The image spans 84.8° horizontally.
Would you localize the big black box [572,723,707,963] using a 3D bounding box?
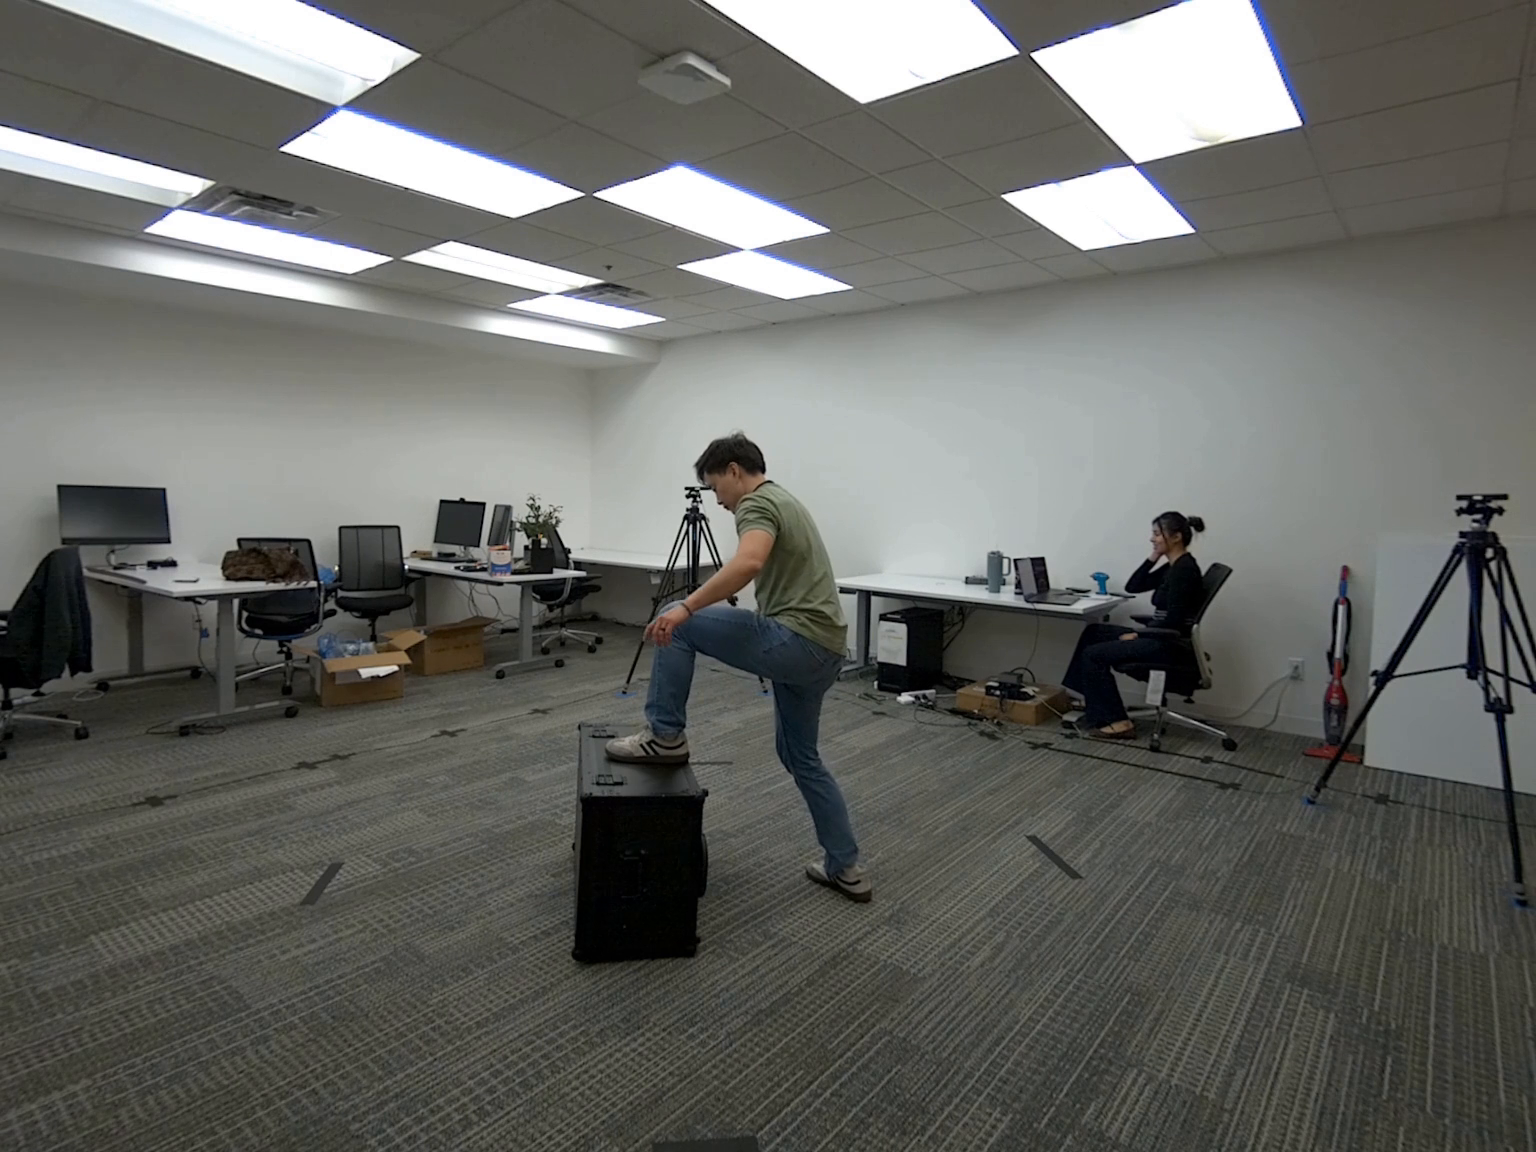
[{"bbox_3d":[-0.462,0.830,2.885,0.391,0.520,0.876,2,4,-13],"label":"big black box"}]
